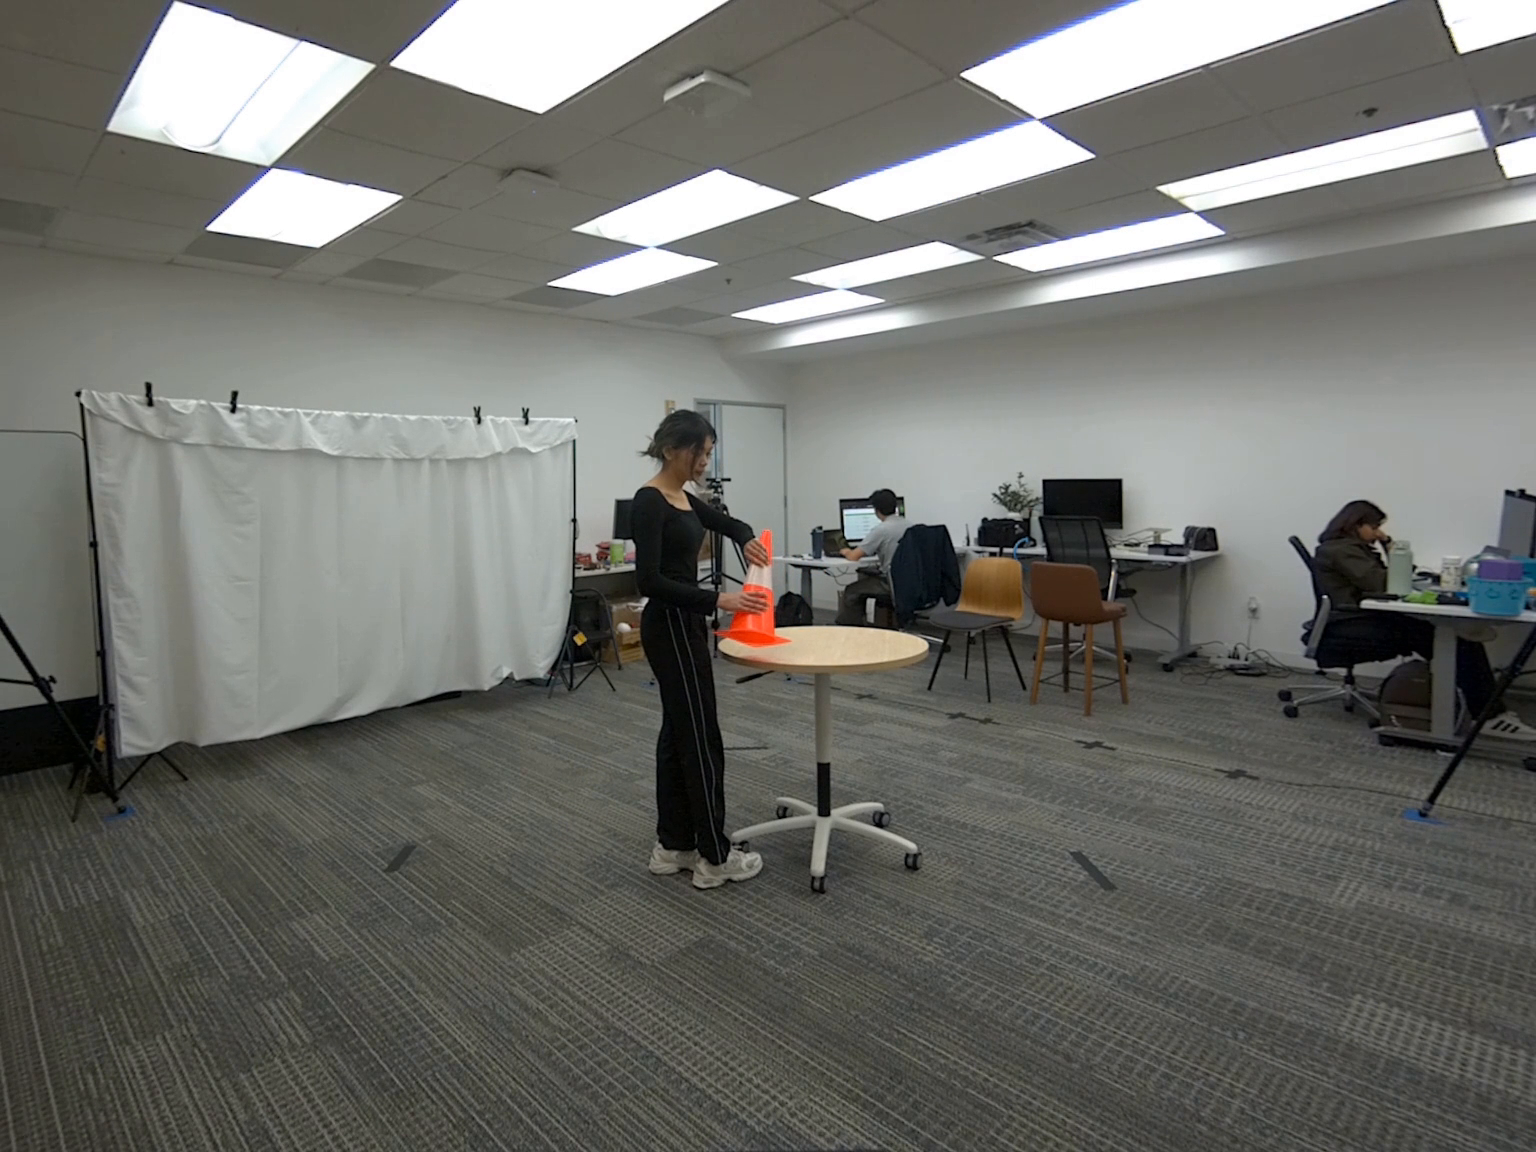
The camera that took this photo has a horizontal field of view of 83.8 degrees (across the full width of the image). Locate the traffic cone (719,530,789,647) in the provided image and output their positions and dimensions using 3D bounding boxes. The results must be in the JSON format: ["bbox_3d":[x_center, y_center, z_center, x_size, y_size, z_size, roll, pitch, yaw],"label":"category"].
[{"bbox_3d":[-0.034,0.029,2.900,0.196,0.389,0.209,22,-24,-35],"label":"traffic cone"}]
